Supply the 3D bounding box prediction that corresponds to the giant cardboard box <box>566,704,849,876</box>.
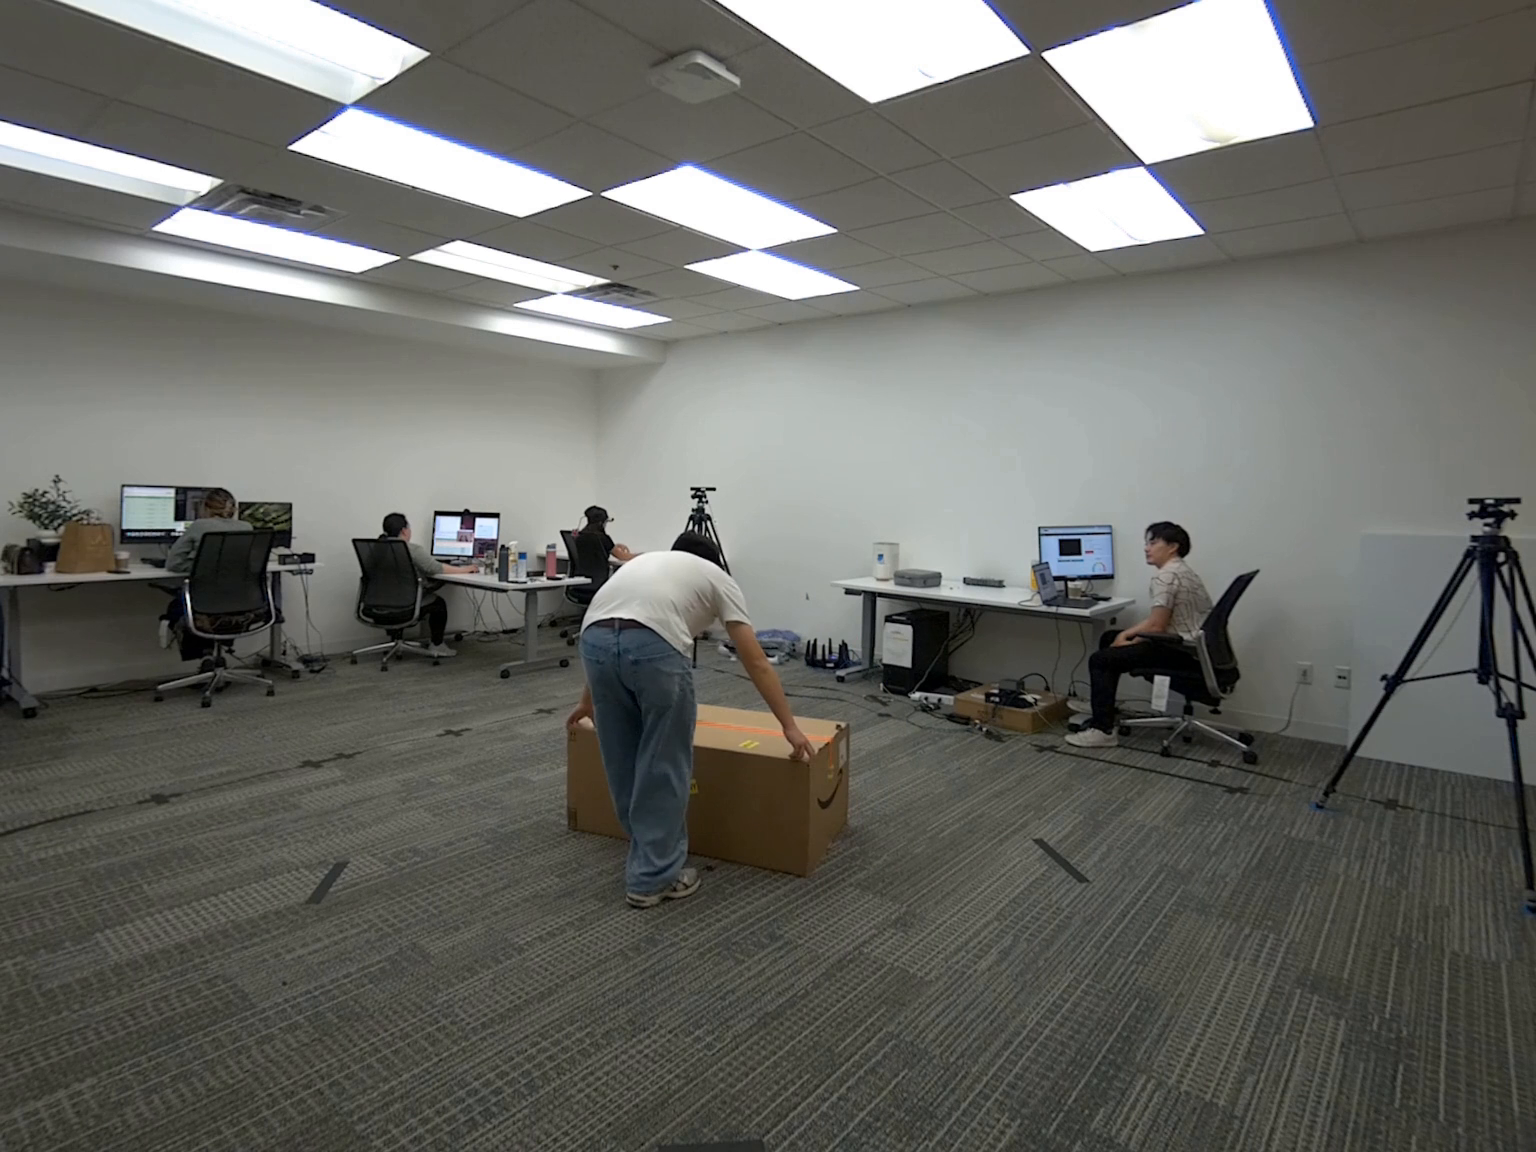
[{"bbox_3d":[-0.246,0.811,3.495,1.051,0.424,0.566,3,6,23],"label":"giant cardboard box"}]
